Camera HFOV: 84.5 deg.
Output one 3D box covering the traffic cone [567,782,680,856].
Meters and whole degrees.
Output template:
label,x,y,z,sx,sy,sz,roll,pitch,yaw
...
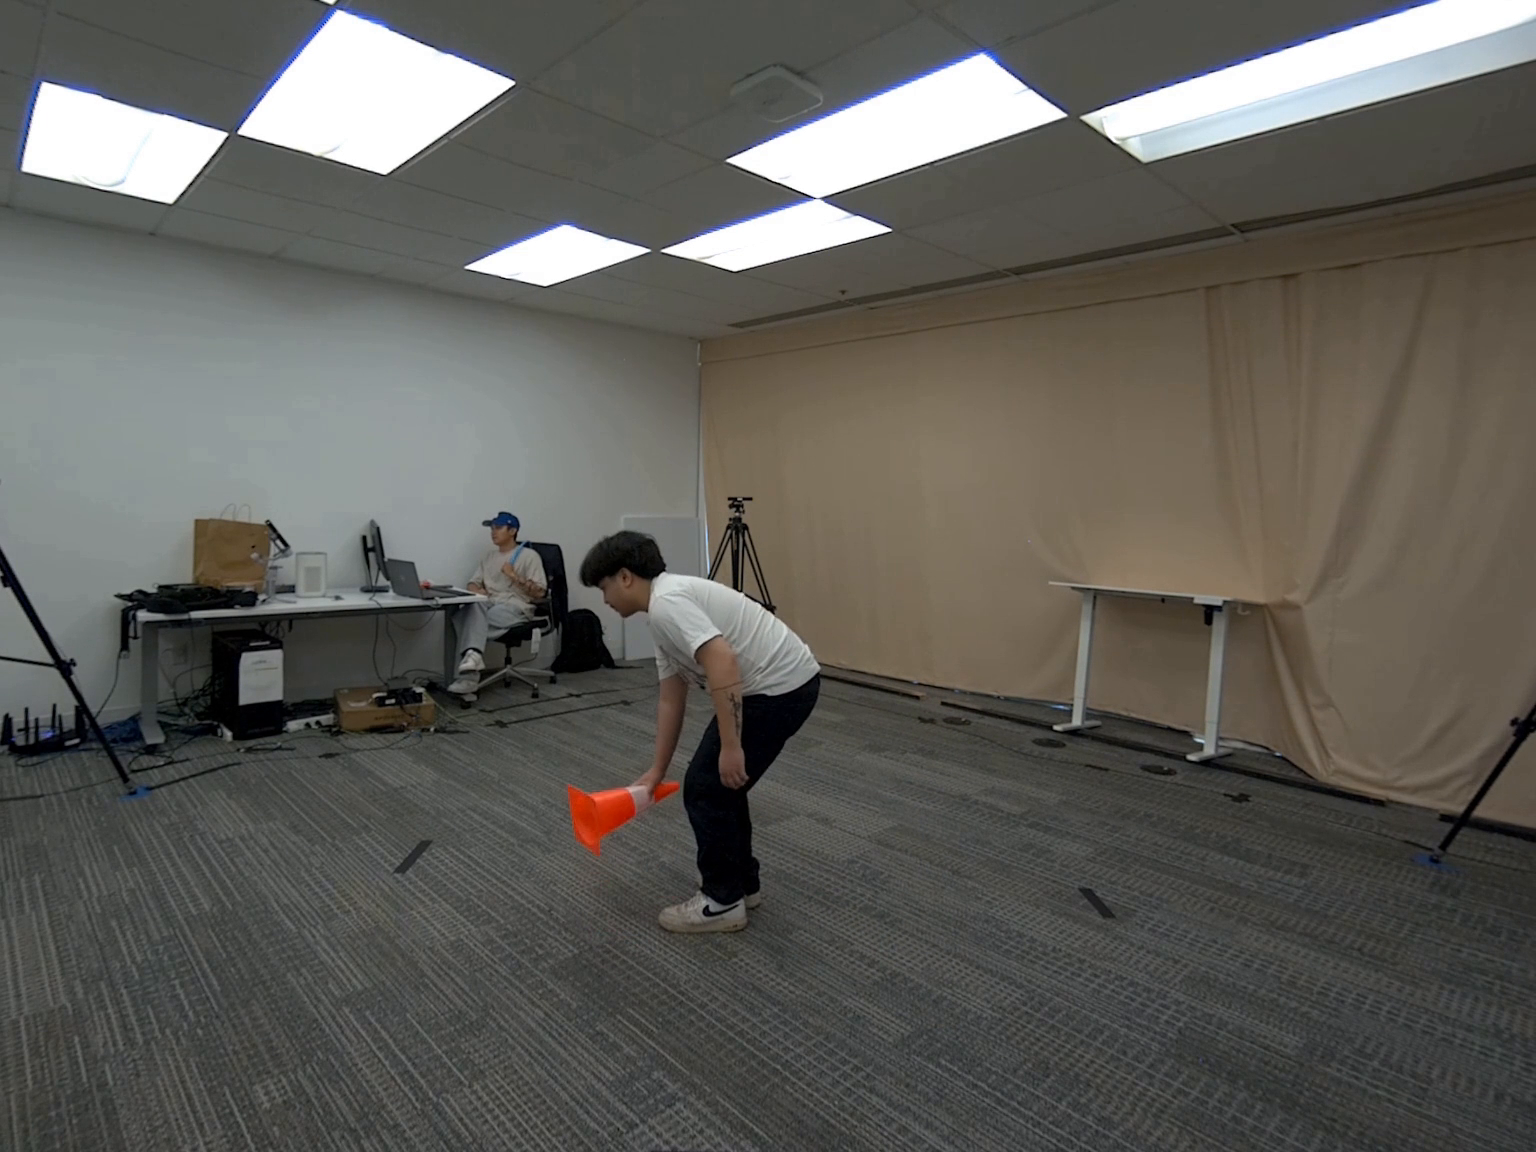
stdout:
label,x,y,z,sx,sy,sz,roll,pitch,yaw
traffic cone,-0.478,0.790,2.919,0.376,0.202,0.210,-9,7,-40
